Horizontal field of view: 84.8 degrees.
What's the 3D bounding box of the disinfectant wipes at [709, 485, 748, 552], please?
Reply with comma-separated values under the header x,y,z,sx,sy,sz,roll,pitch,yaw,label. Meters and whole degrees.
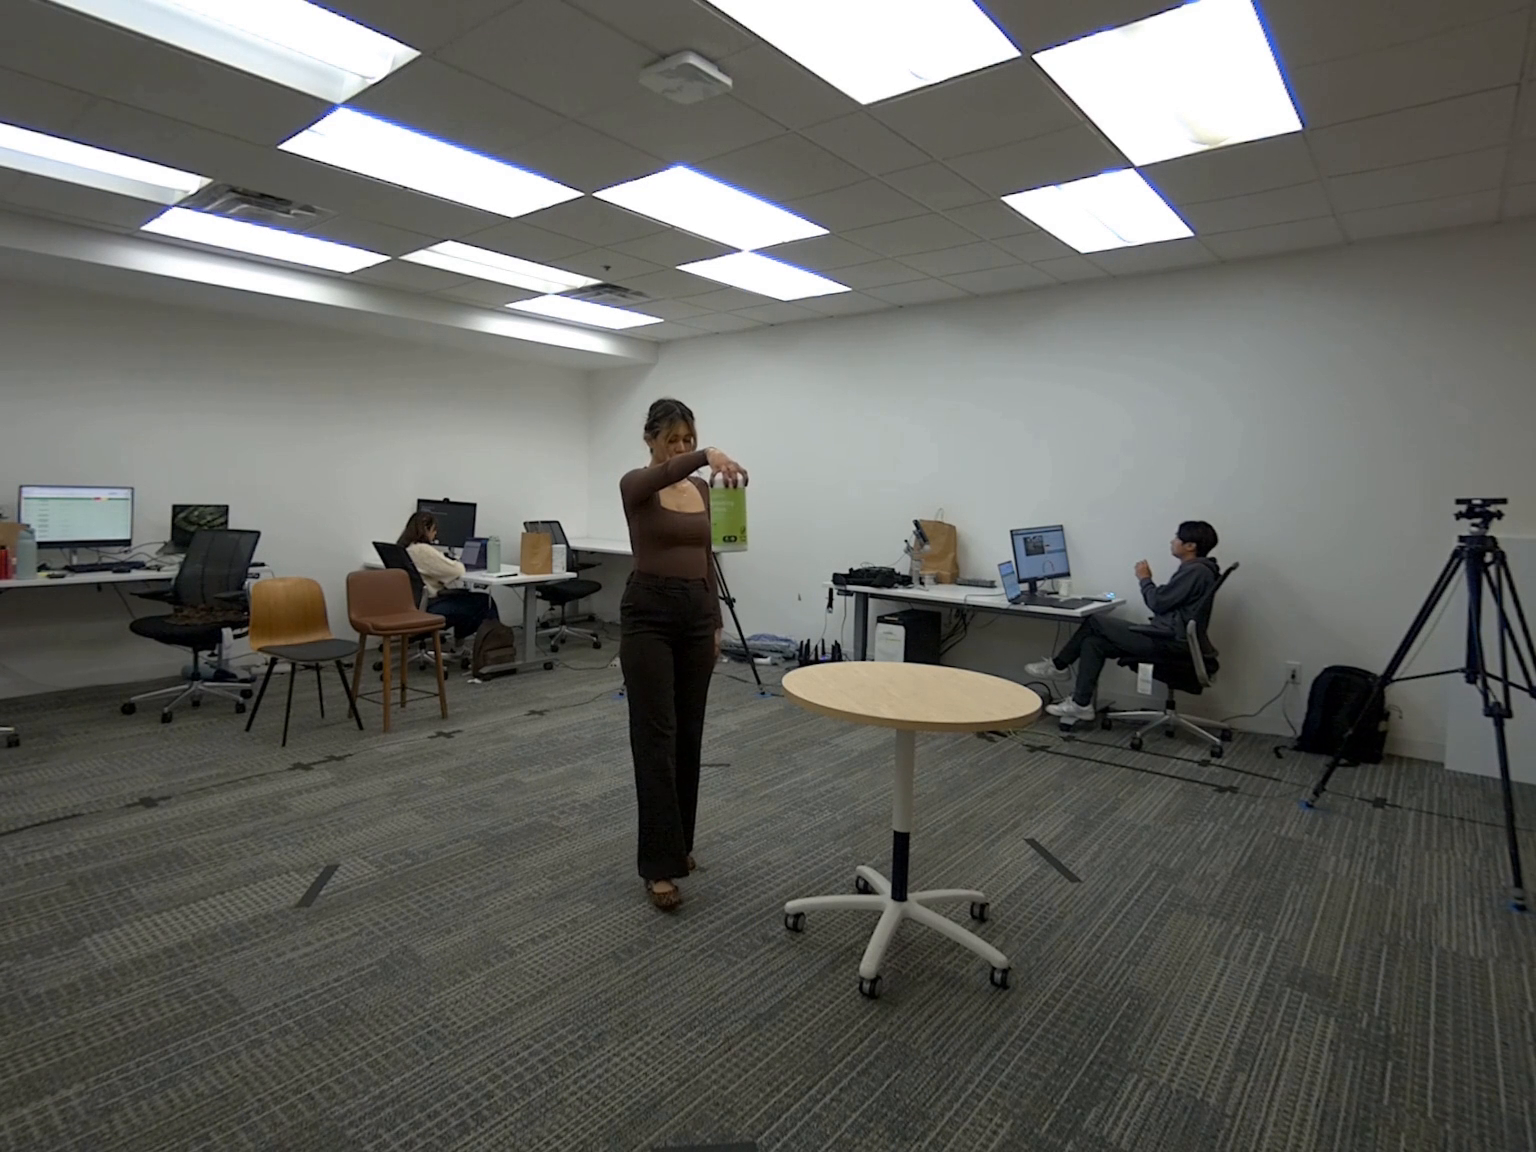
x,y,z,sx,sy,sz,roll,pitch,yaw,label
-0.125,-0.178,2.501,0.118,0.217,0.118,-3,1,-2,disinfectant wipes
